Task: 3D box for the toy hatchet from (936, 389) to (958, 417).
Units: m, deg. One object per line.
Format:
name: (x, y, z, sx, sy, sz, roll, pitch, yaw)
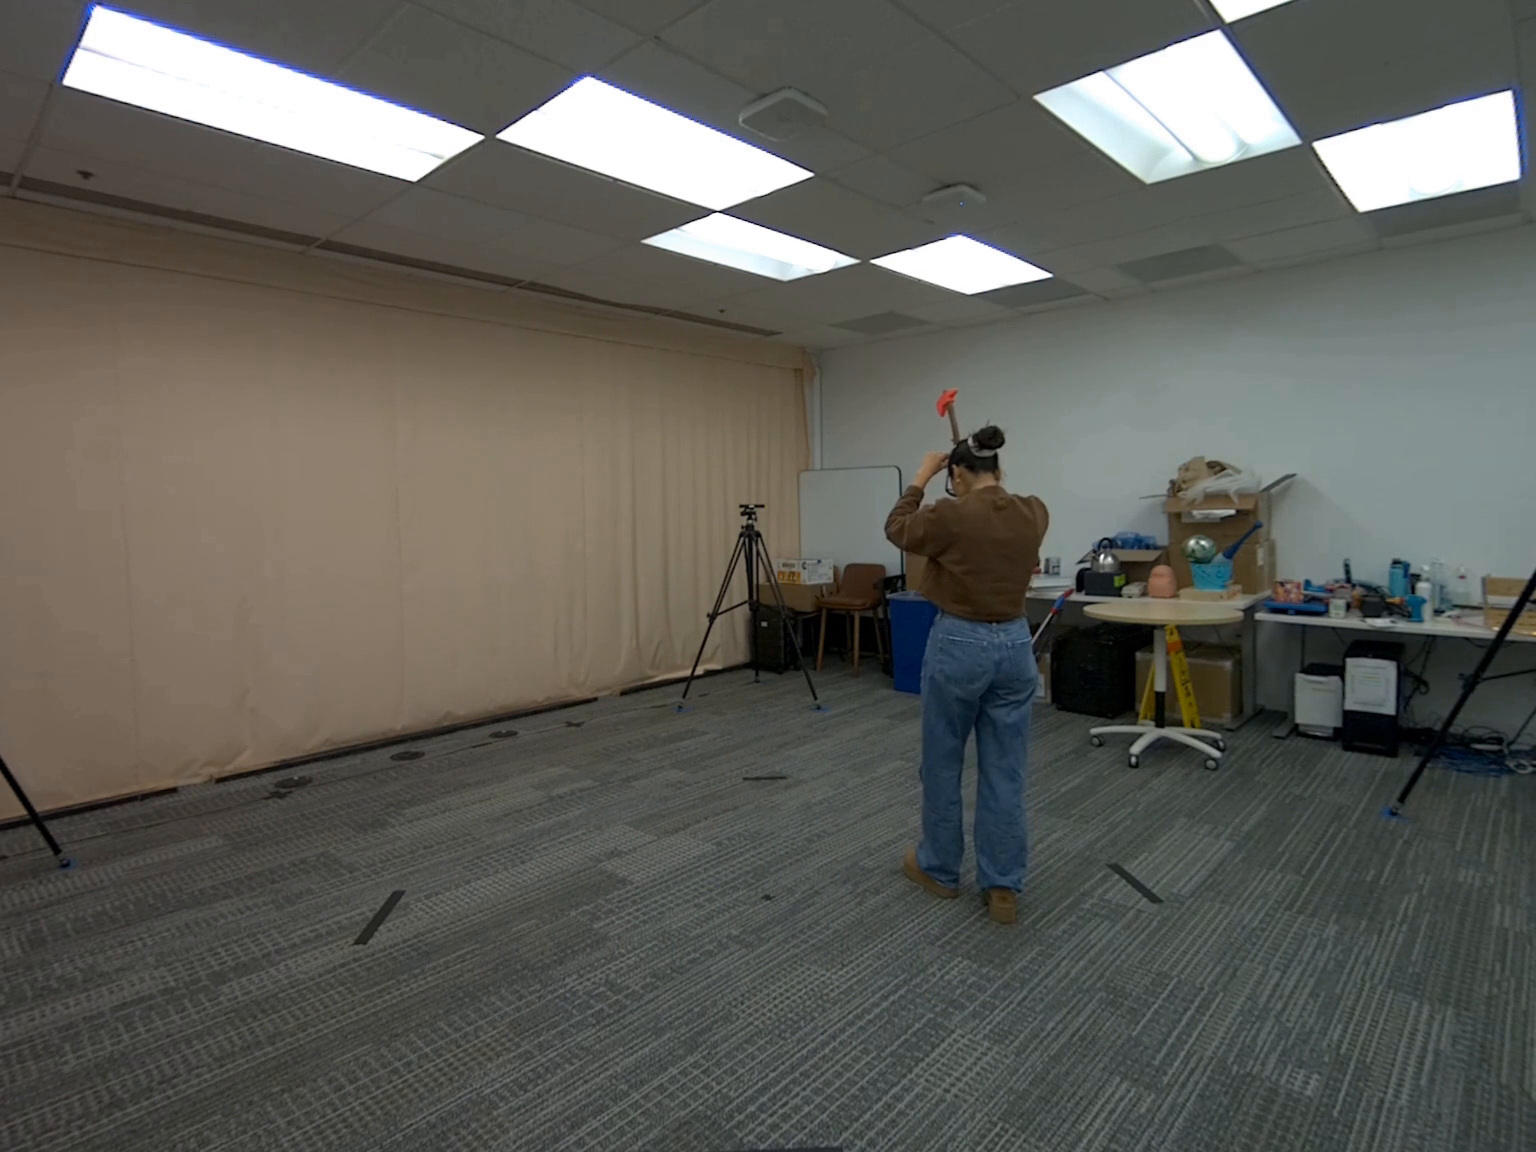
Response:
toy hatchet: (0.680, -0.558, 3.120, 0.029, 0.270, 0.134, -2, 2, -22)
